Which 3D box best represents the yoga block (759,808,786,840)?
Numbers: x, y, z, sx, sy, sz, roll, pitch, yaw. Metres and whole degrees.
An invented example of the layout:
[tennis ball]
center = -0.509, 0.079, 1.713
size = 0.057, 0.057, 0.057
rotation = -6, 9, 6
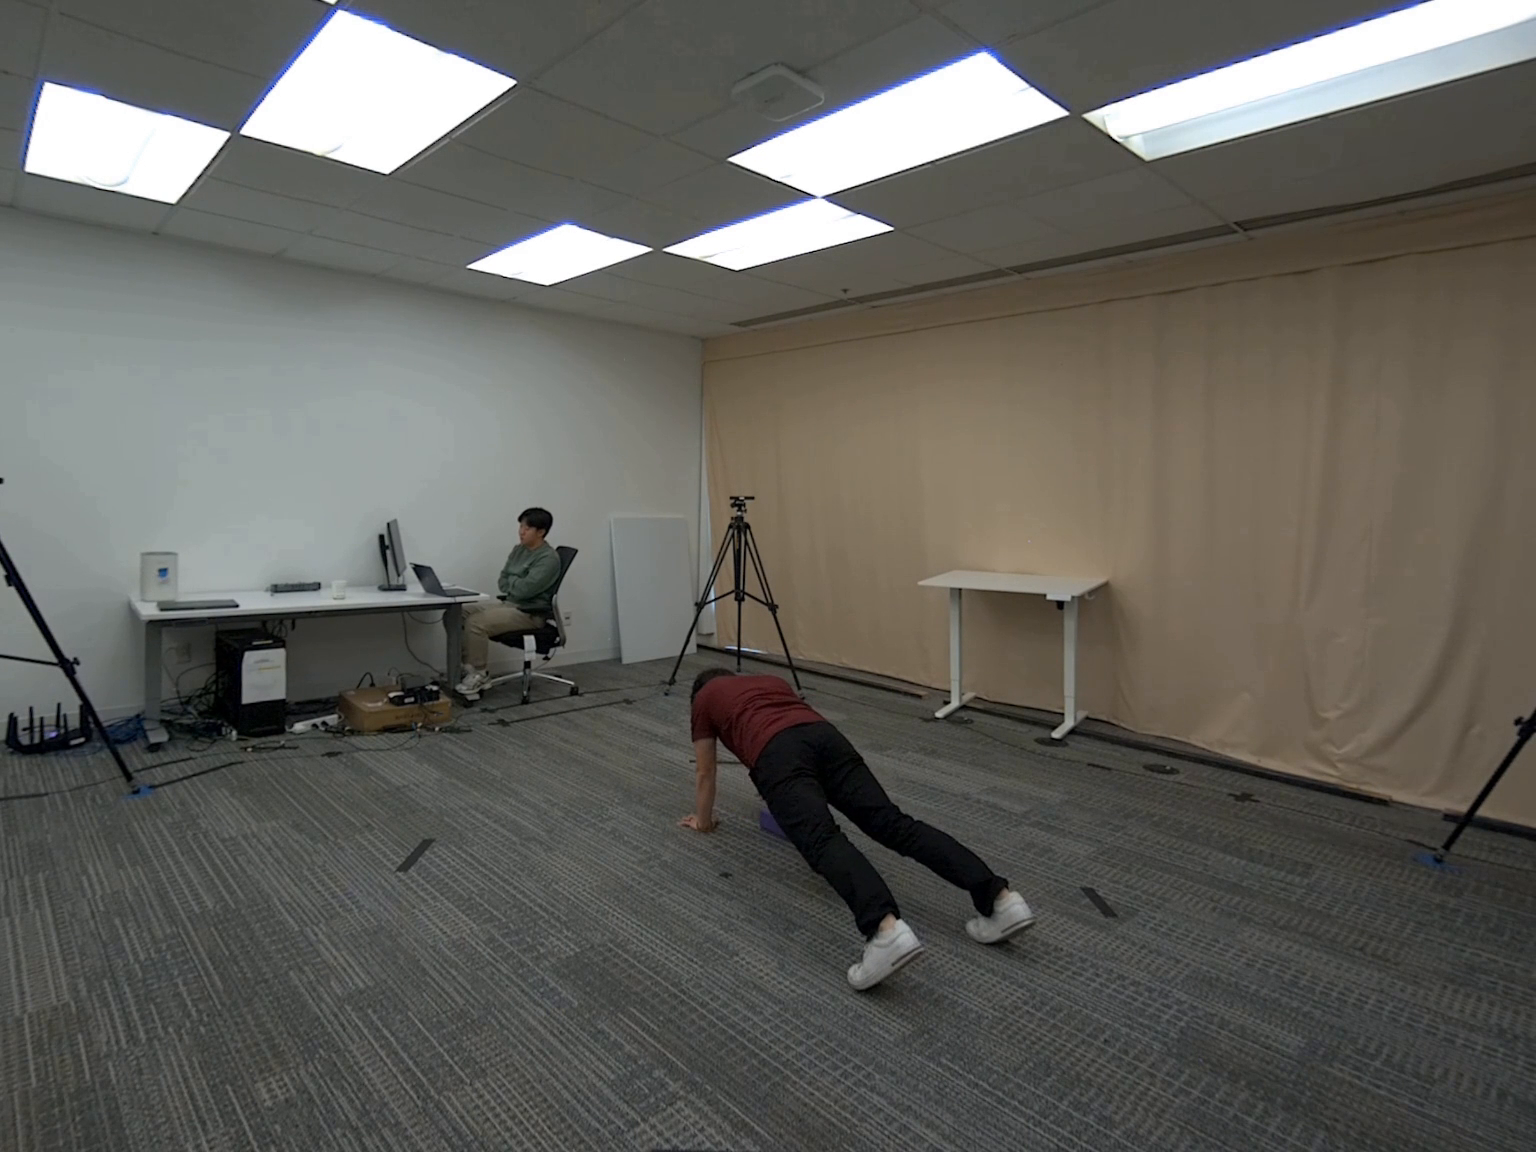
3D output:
[yoga block]
center = 0.085, 1.035, 3.527
size = 0.145, 0.076, 0.235
rotation = -3, 7, -43
